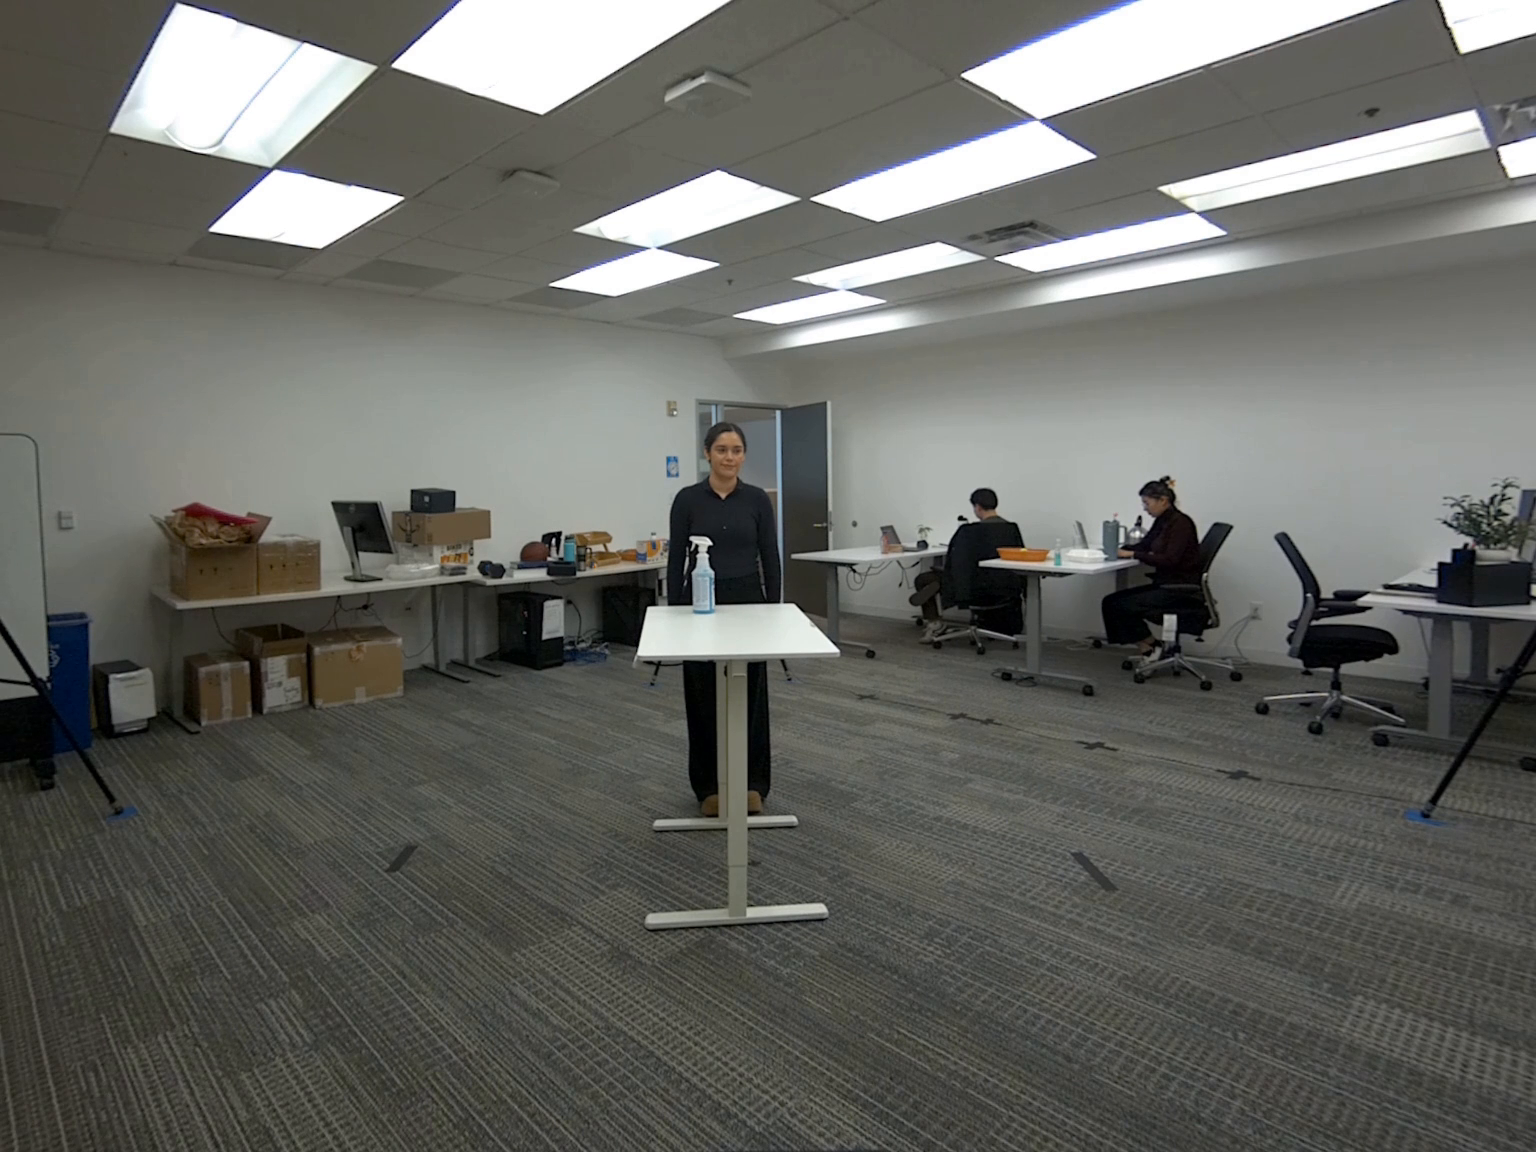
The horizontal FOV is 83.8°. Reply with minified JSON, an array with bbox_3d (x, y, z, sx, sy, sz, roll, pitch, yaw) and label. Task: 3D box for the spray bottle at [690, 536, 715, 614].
[{"bbox_3d":[-0.248,-0.001,3.324,0.093,0.297,0.085,1,4,45],"label":"spray bottle"}]
